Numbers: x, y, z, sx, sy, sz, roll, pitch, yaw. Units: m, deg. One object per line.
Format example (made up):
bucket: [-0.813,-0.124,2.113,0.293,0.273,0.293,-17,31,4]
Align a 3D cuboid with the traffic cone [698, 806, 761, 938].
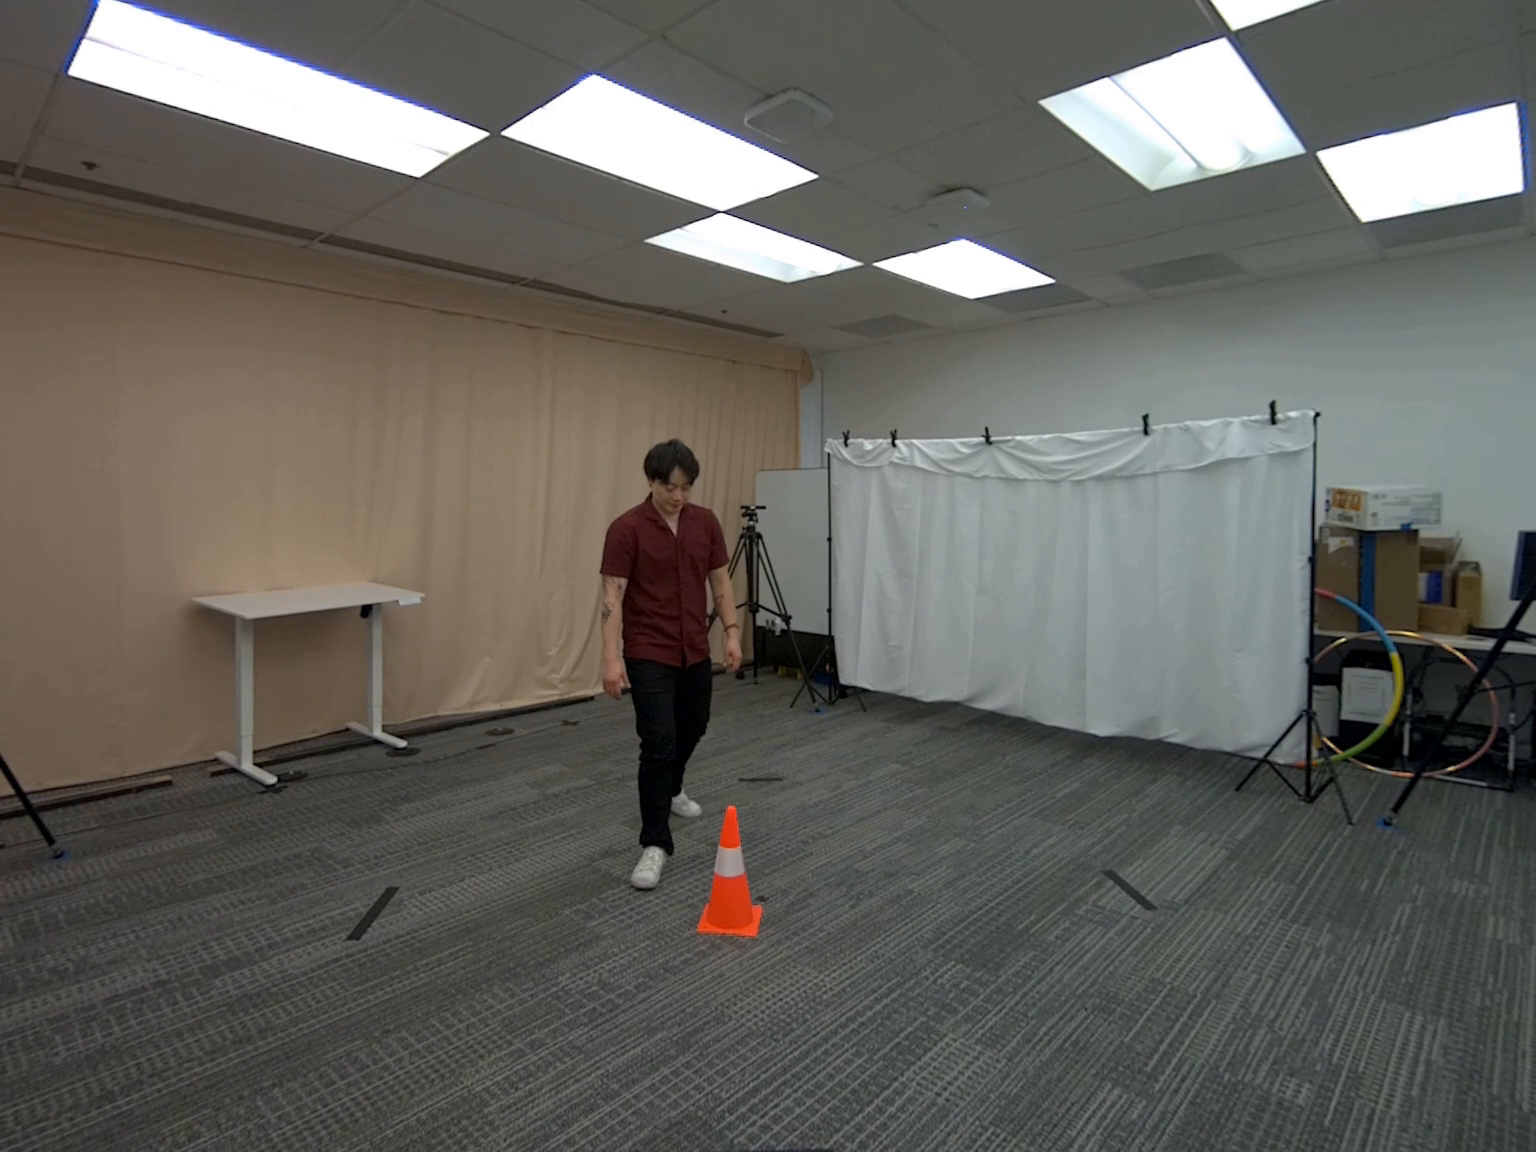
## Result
traffic cone: [-0.129,0.969,2.819,0.206,0.383,0.203,0,4,10]
